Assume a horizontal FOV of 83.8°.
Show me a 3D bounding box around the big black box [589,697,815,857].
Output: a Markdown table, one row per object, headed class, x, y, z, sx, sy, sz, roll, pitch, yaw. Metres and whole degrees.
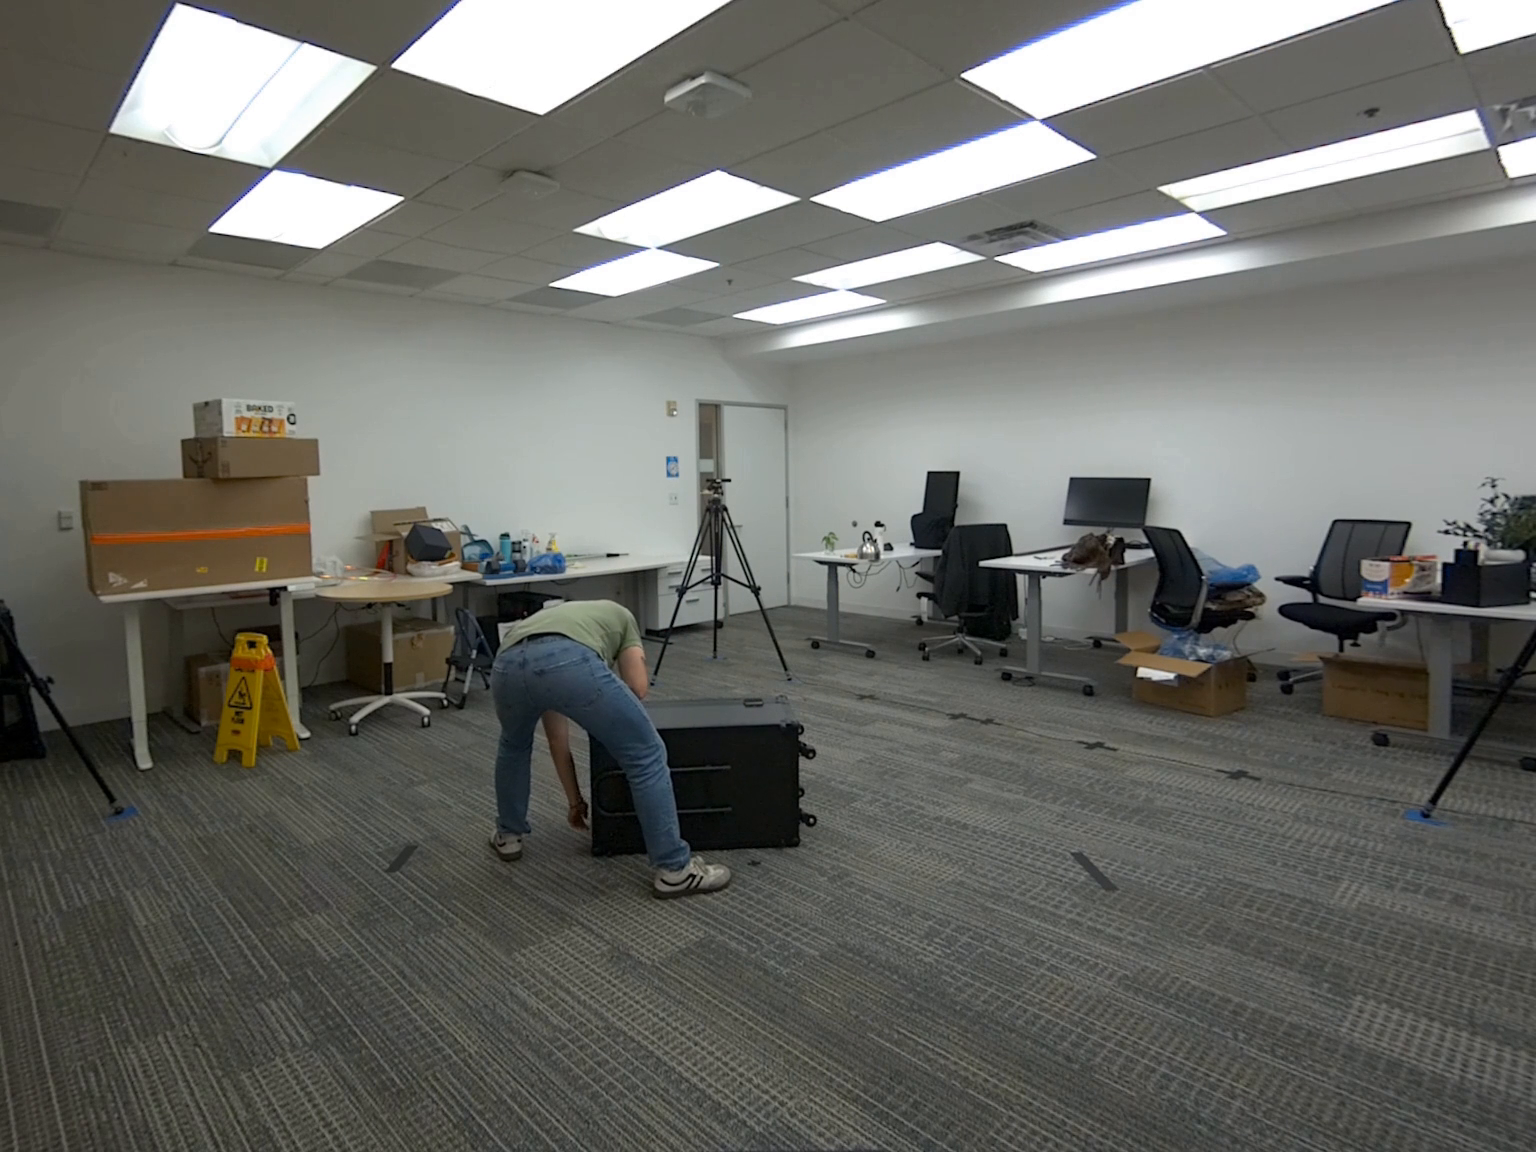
| class | x | y | z | sx | sy | sz | roll | pitch | yaw |
| --- | --- | --- | --- | --- | --- | --- | --- | --- | --- |
| big black box | -0.254 | 0.760 | 3.348 | 0.857 | 0.518 | 0.401 | -2 | 7 | -6 |
